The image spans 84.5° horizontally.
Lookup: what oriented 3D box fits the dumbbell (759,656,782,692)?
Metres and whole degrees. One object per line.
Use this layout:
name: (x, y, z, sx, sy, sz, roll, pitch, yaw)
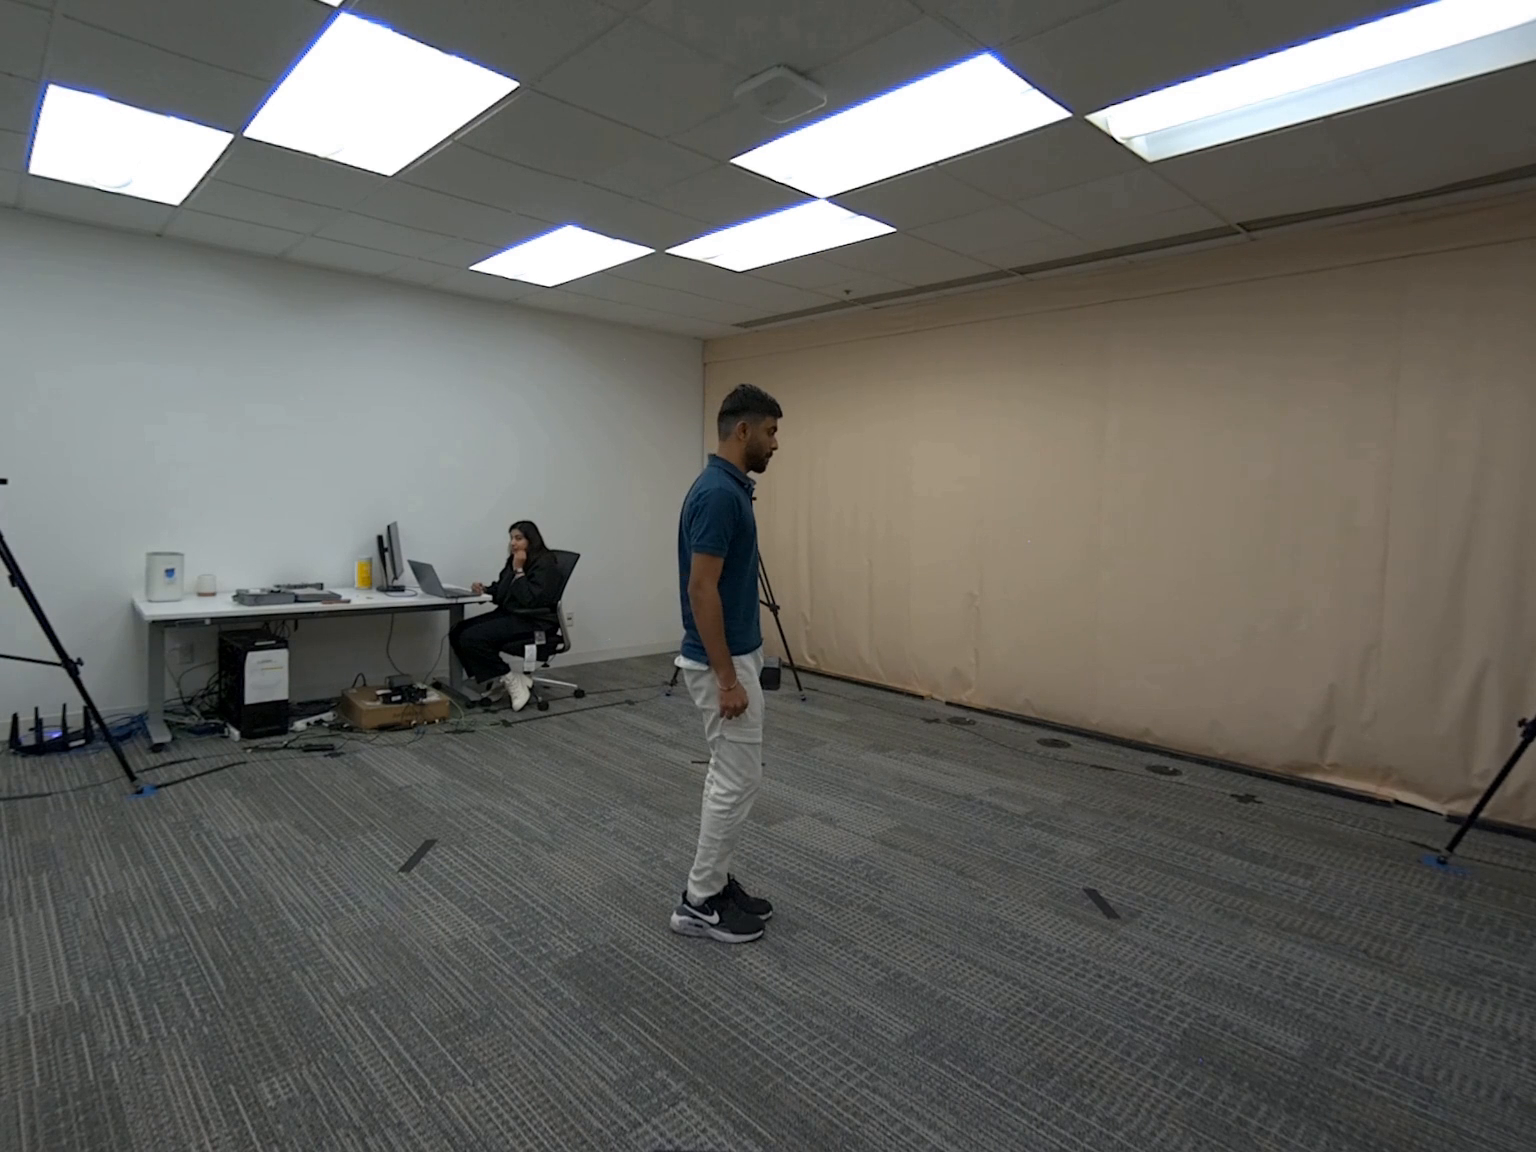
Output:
dumbbell: (-0.097, 0.334, 2.931, 0.293, 0.122, 0.109, 4, 6, 0)
